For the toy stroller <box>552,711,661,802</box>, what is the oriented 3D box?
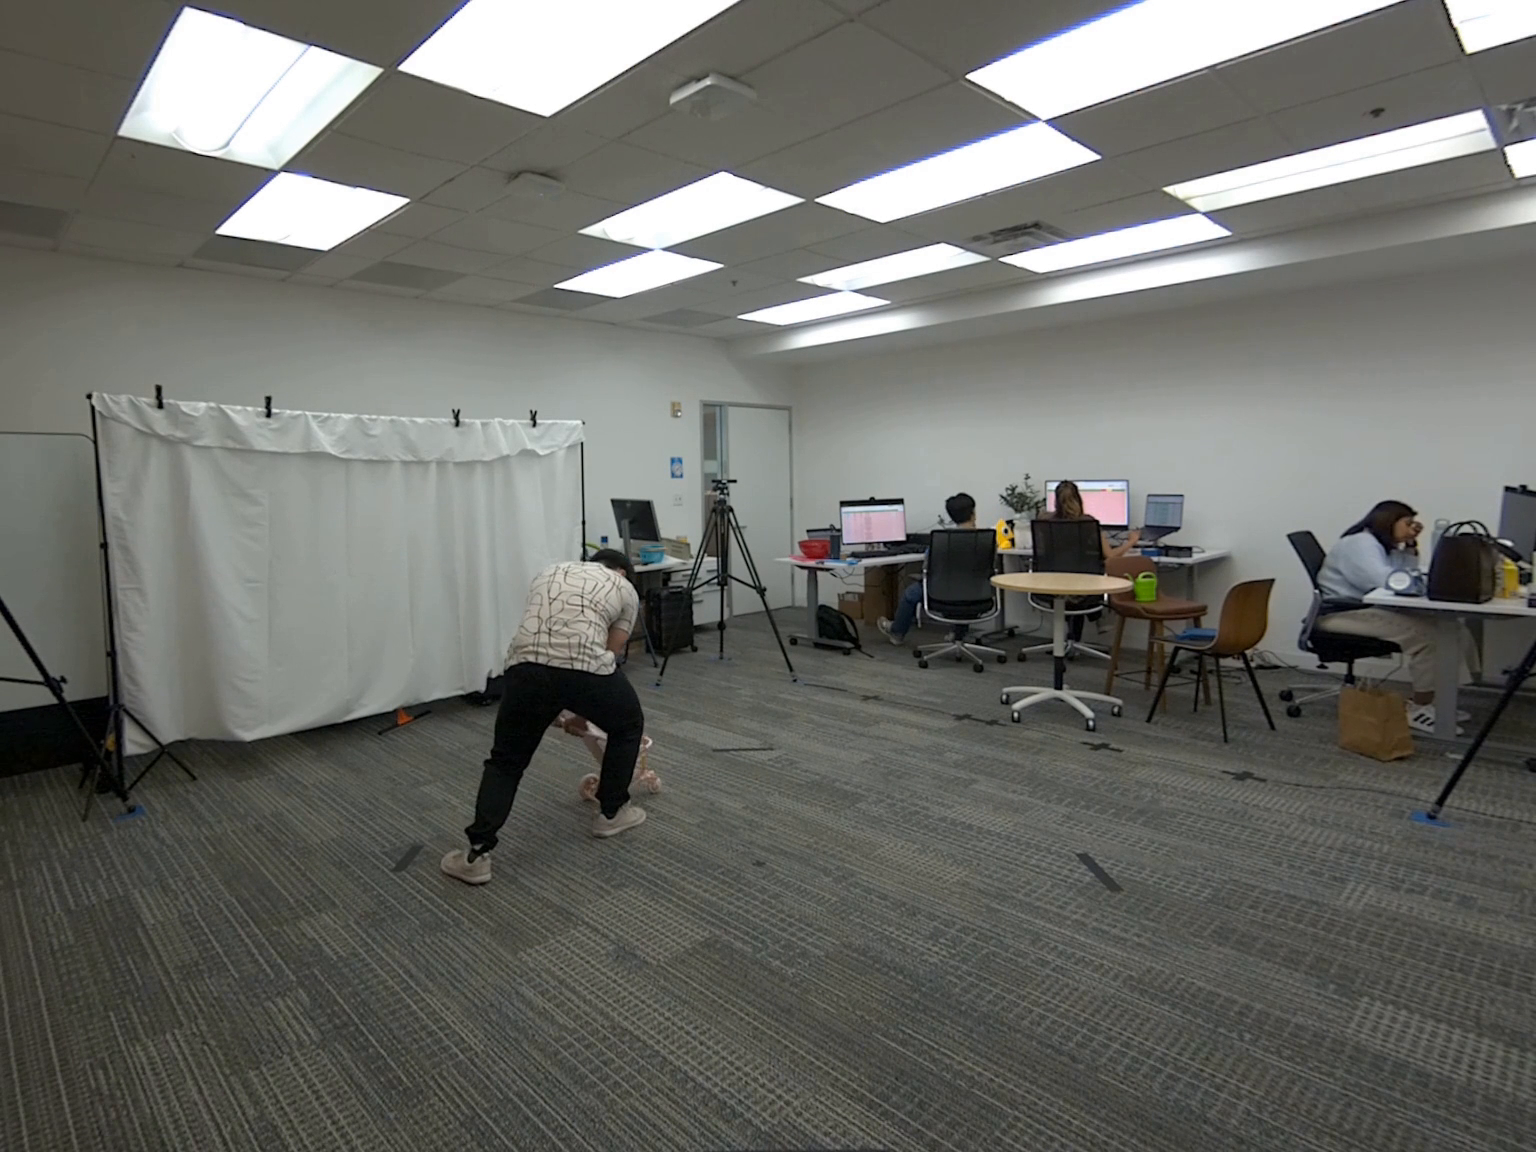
[{"bbox_3d":[-0.665,0.772,3.712,0.337,0.526,0.290,-25,18,-31],"label":"toy stroller"}]
